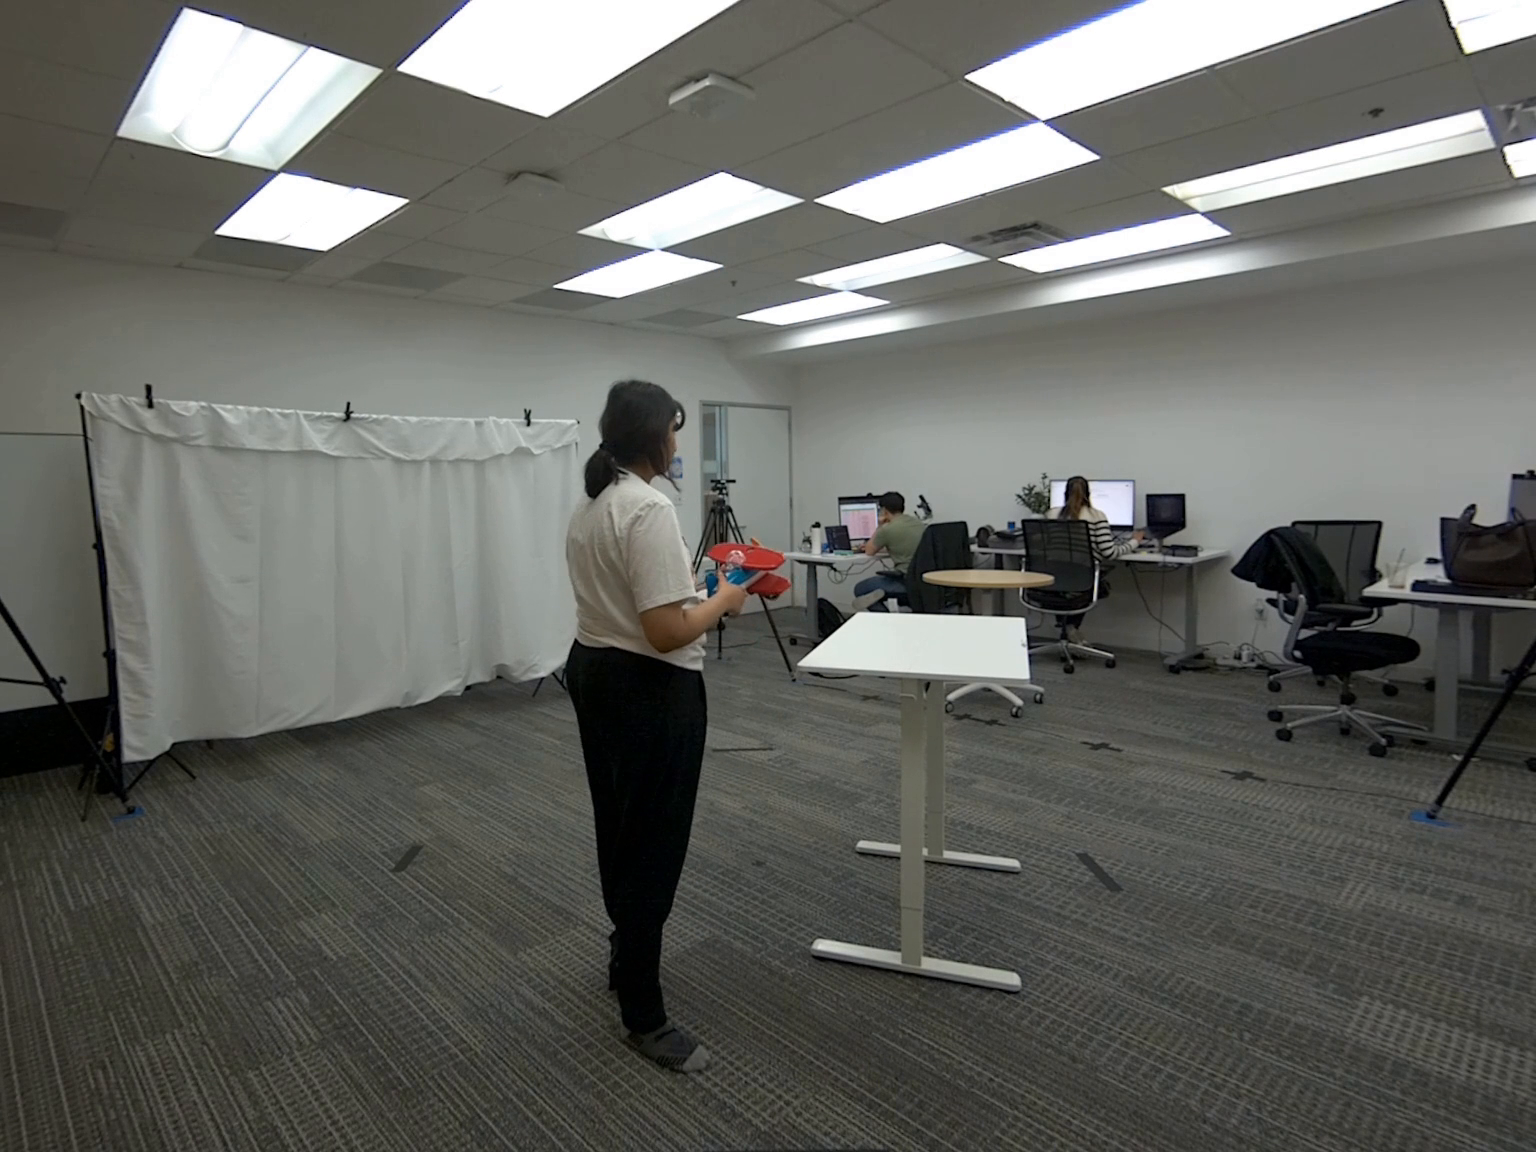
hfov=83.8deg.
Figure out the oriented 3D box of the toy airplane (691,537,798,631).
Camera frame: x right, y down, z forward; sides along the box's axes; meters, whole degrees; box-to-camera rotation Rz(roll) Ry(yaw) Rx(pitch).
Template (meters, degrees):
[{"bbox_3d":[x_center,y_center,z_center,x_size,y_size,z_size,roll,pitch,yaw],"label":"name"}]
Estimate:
[{"bbox_3d":[-0.063,0.014,2.350,0.254,0.154,0.260,3,21,12],"label":"toy airplane"}]
